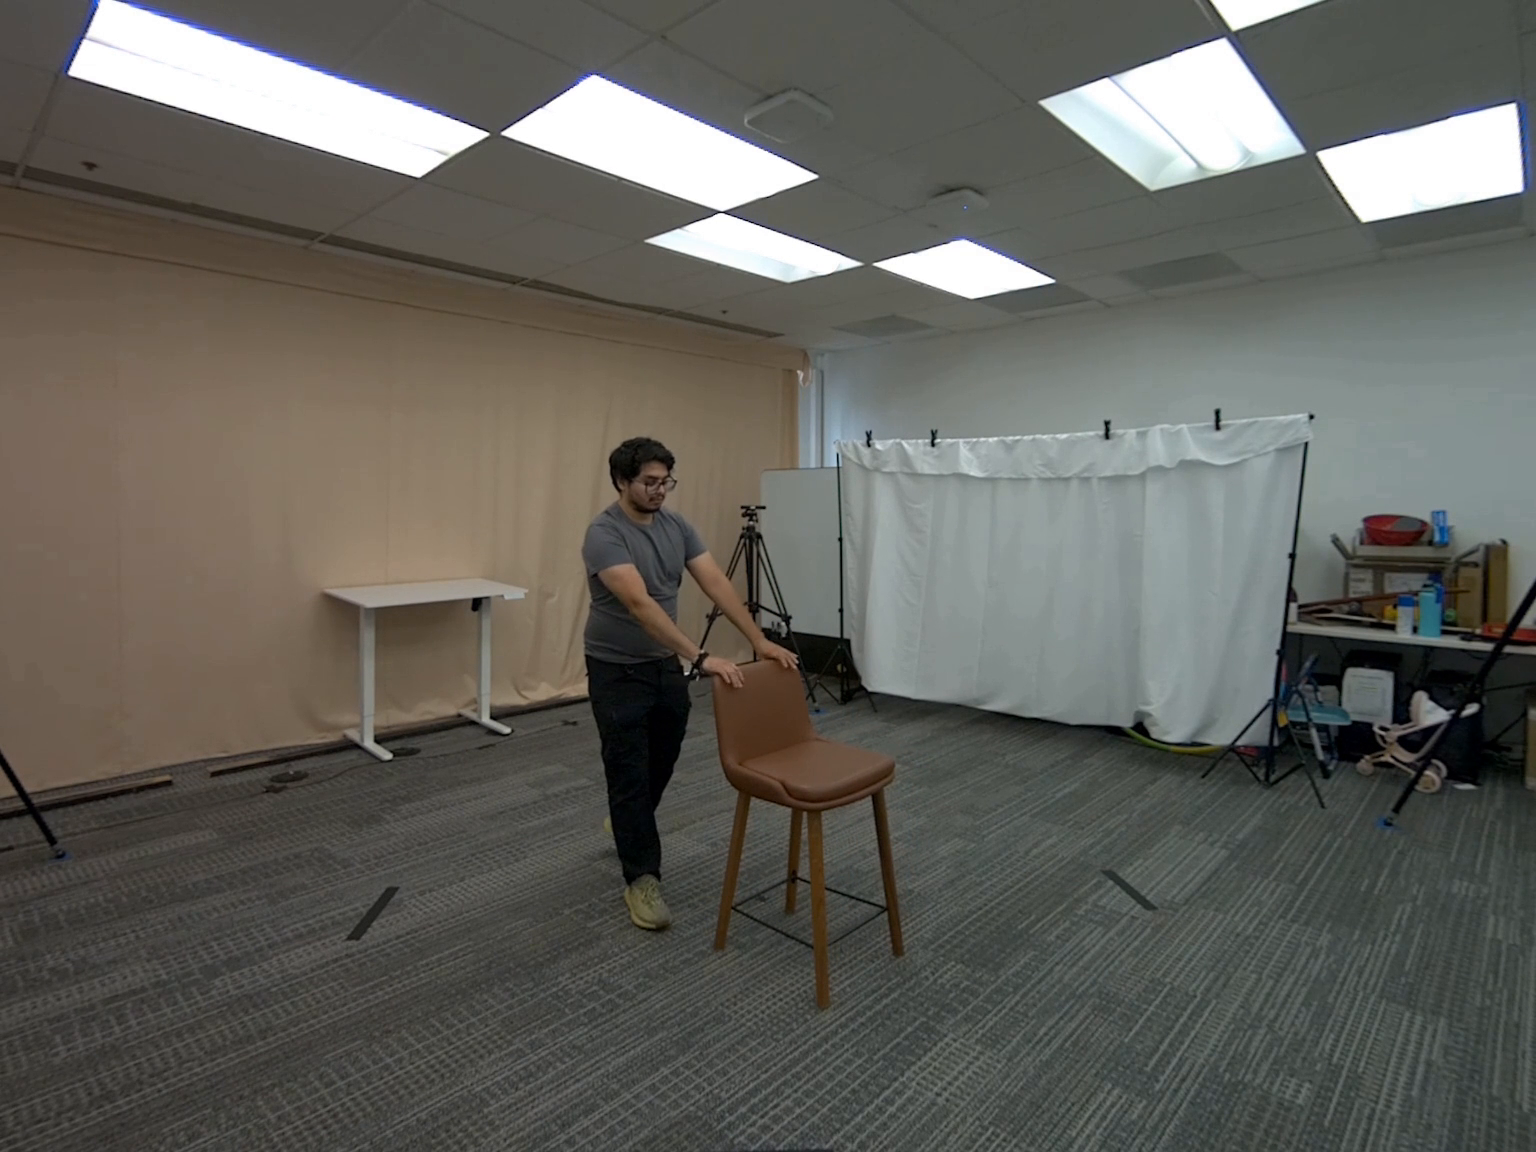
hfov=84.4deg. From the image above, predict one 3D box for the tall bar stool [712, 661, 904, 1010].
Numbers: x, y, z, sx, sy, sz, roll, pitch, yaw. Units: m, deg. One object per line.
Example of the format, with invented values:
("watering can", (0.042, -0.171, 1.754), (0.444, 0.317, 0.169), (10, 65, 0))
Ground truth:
("tall bar stool", (0.115, 0.737, 2.607), (0.483, 0.888, 0.442), (0, 3, 44))
